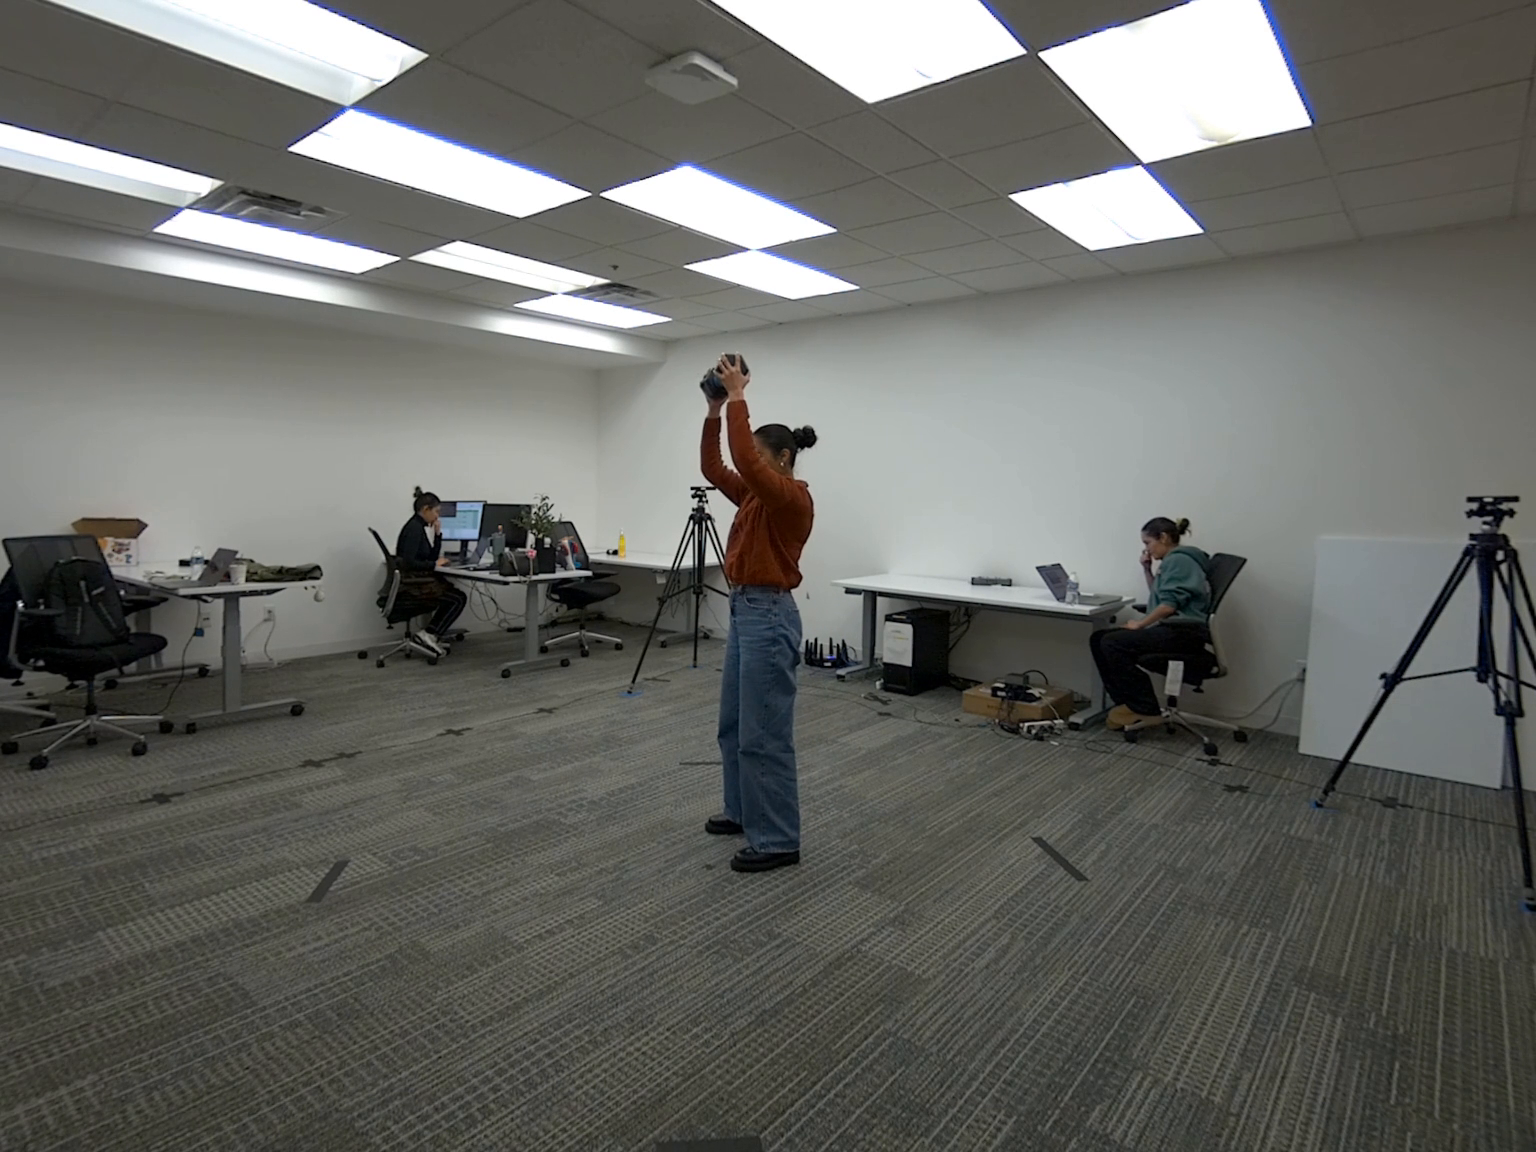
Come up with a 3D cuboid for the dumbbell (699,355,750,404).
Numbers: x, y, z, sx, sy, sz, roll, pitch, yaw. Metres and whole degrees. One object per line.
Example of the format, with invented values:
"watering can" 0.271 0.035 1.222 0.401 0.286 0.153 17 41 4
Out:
"dumbbell" -0.179 -0.741 3.220 0.107 0.123 0.297 34 -8 -12
